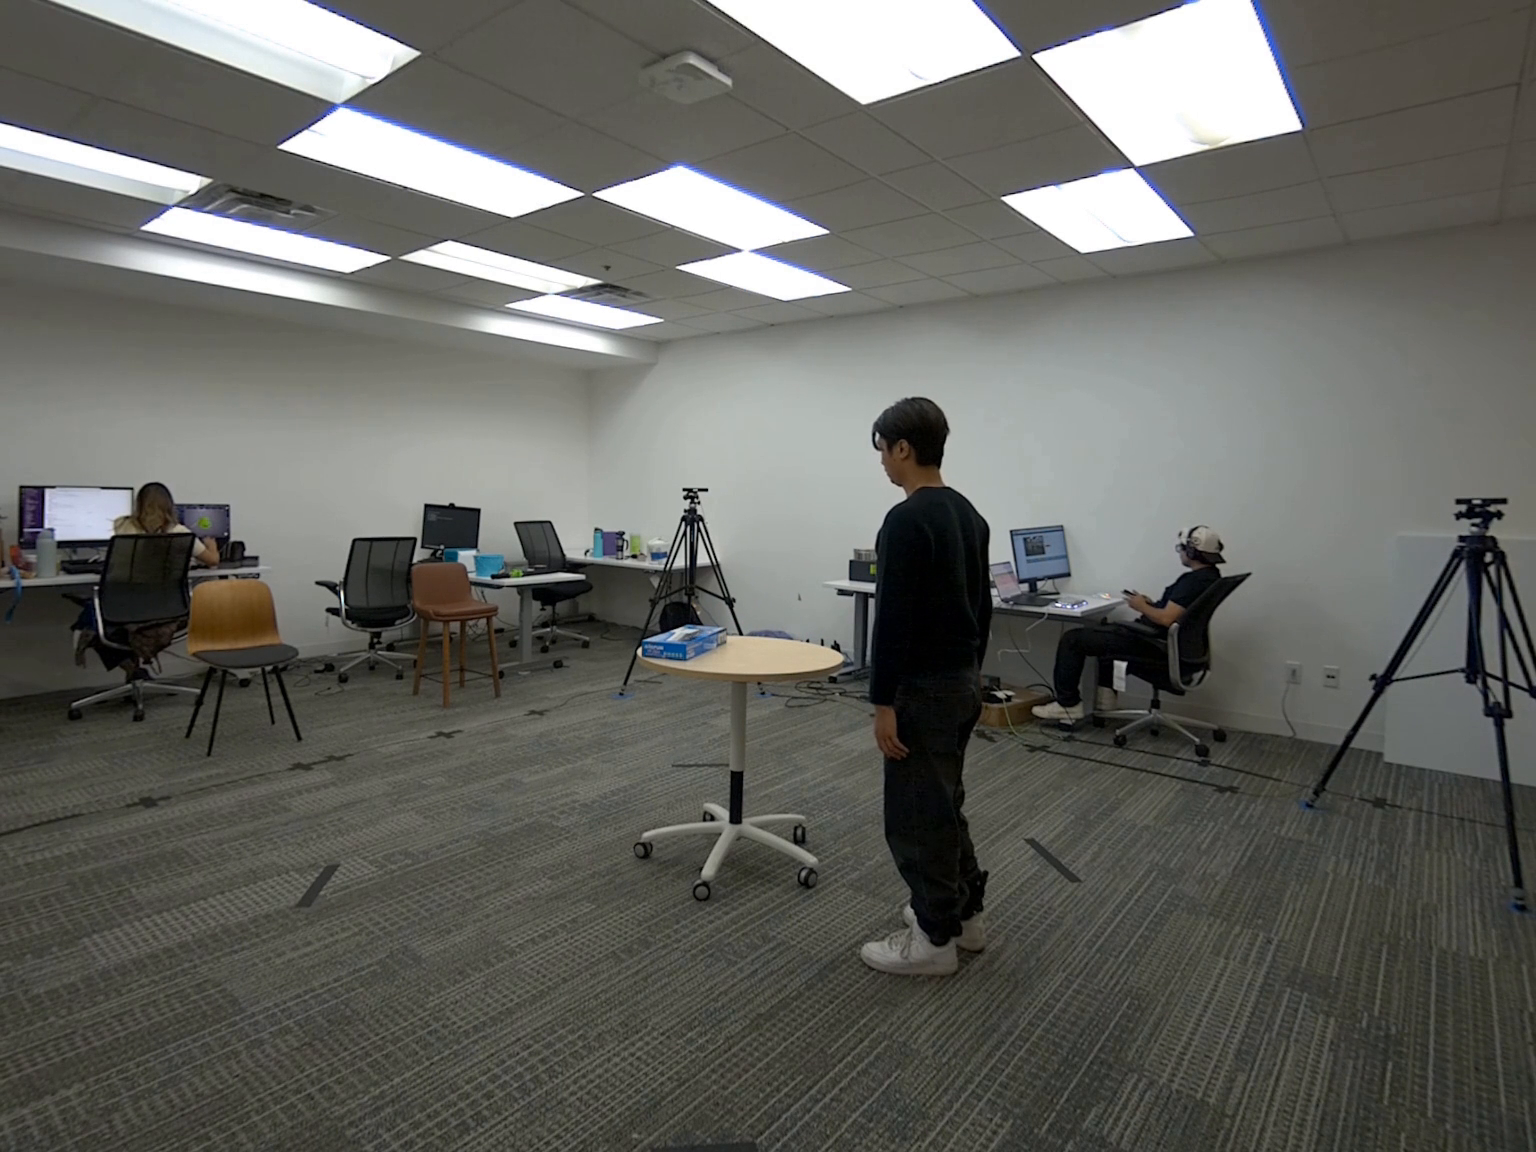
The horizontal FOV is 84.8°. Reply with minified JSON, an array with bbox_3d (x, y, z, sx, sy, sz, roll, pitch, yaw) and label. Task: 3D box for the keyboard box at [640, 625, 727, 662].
[{"bbox_3d":[-0.315,0.247,3.217,0.179,0.059,0.430,3,5,17],"label":"keyboard box"}]
